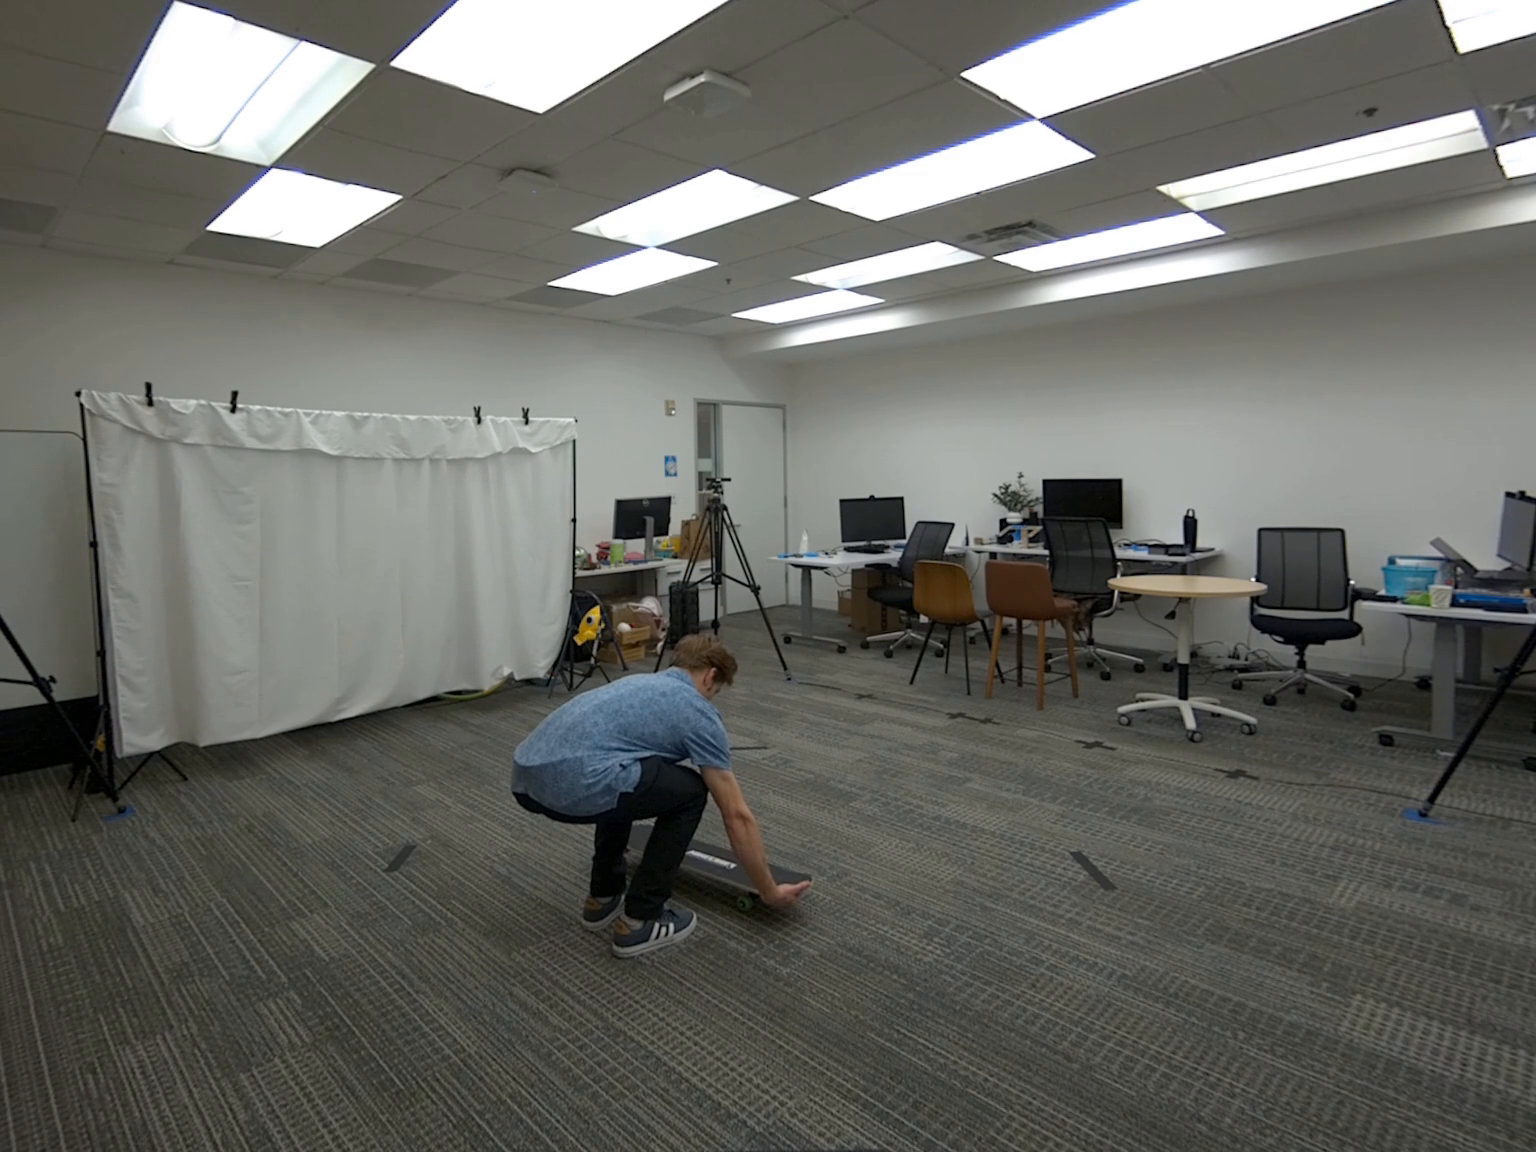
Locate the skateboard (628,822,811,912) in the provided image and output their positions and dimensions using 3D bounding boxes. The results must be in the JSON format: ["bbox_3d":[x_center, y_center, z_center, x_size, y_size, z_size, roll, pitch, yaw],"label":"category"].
[{"bbox_3d":[-0.198,0.999,2.933,0.808,0.110,0.188,3,5,37],"label":"skateboard"}]
